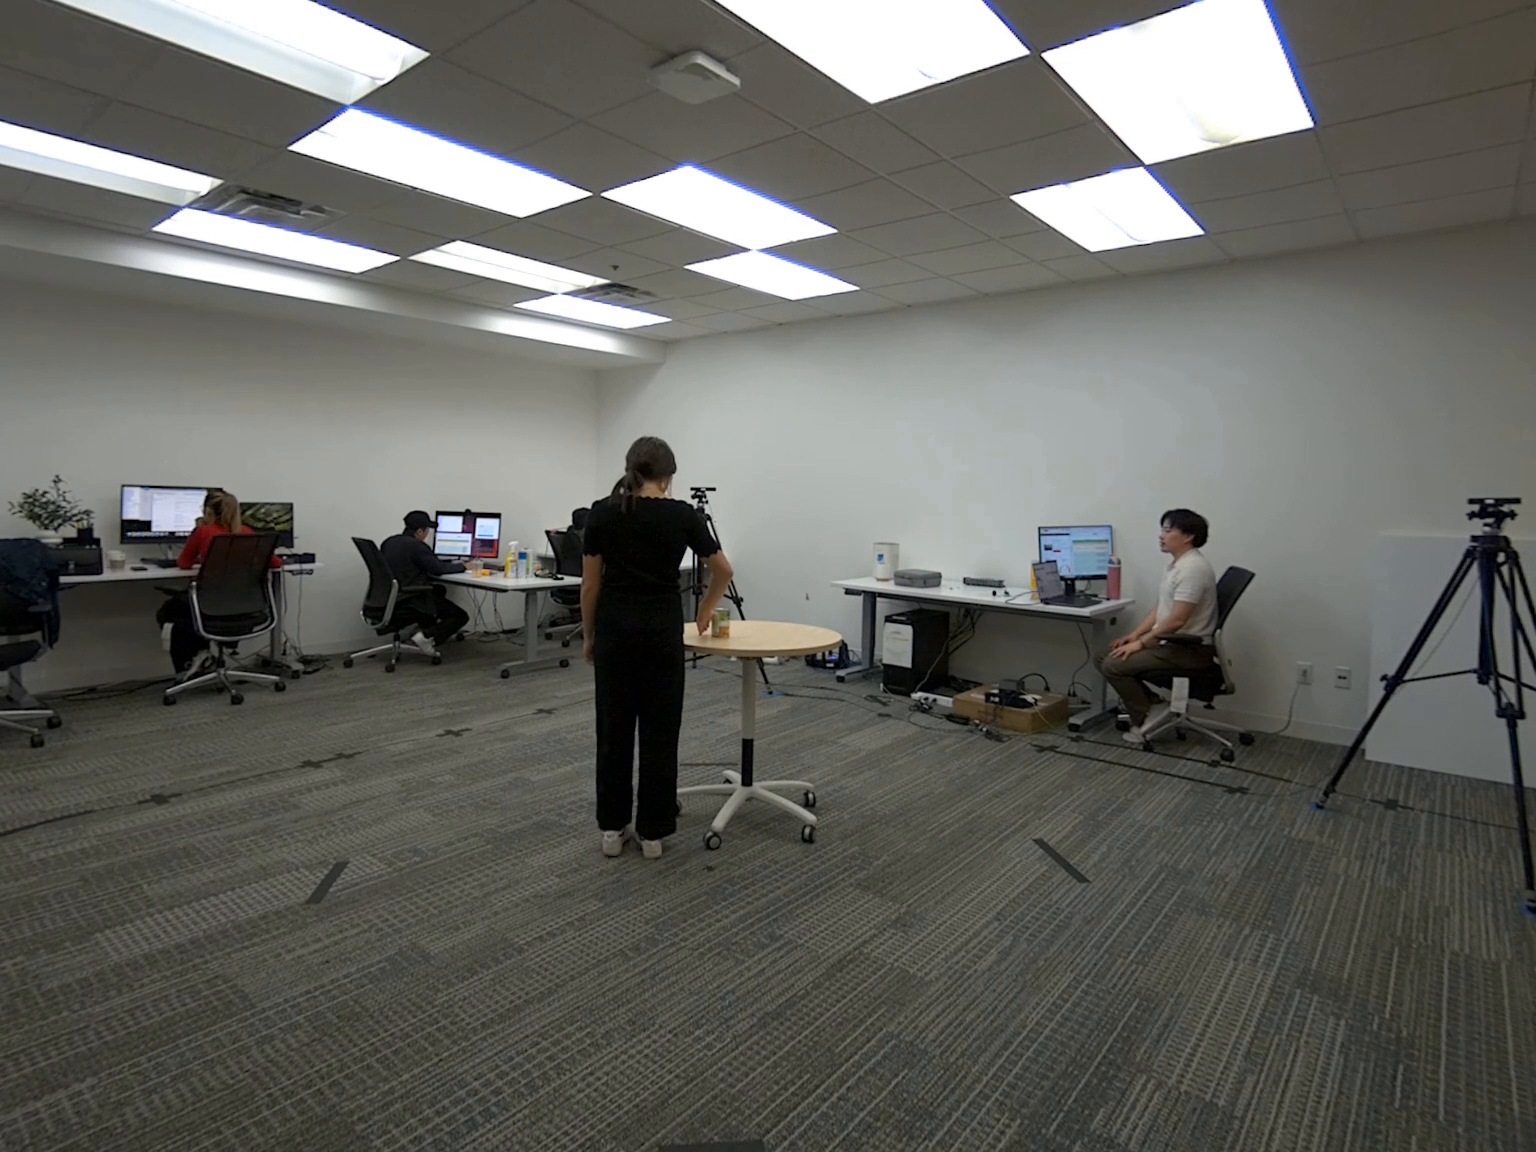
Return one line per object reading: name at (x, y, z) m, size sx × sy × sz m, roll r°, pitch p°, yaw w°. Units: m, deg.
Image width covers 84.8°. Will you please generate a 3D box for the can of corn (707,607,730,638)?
can of corn at (-0.206, 0.191, 3.492) m, size 0.074 × 0.111 × 0.074 m, roll 0°, pitch 3°, yaw -2°
